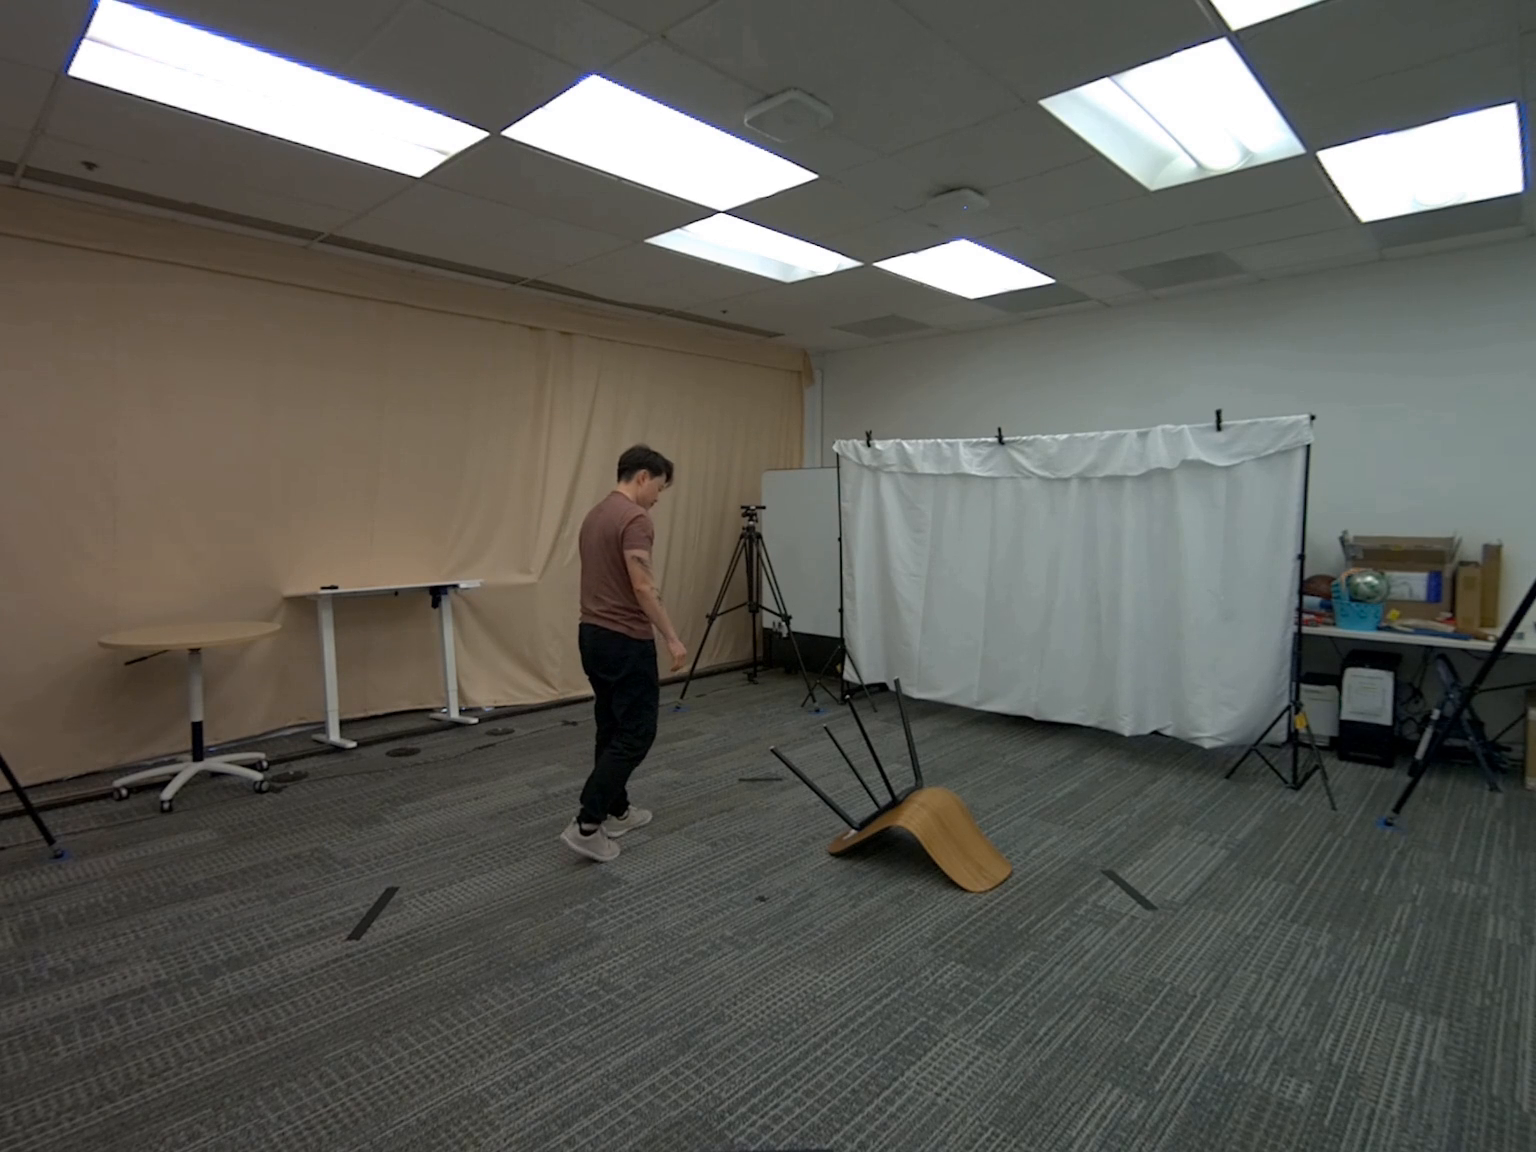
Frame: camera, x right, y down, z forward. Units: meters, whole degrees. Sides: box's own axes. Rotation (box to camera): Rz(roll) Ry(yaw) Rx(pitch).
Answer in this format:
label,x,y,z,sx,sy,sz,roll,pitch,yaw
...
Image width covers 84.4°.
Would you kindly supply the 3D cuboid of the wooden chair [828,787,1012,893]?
label,x,y,z,sx,sy,sz,roll,pitch,yaw
wooden chair,0.490,0.936,3.410,0.527,0.897,0.464,-45,-23,28
